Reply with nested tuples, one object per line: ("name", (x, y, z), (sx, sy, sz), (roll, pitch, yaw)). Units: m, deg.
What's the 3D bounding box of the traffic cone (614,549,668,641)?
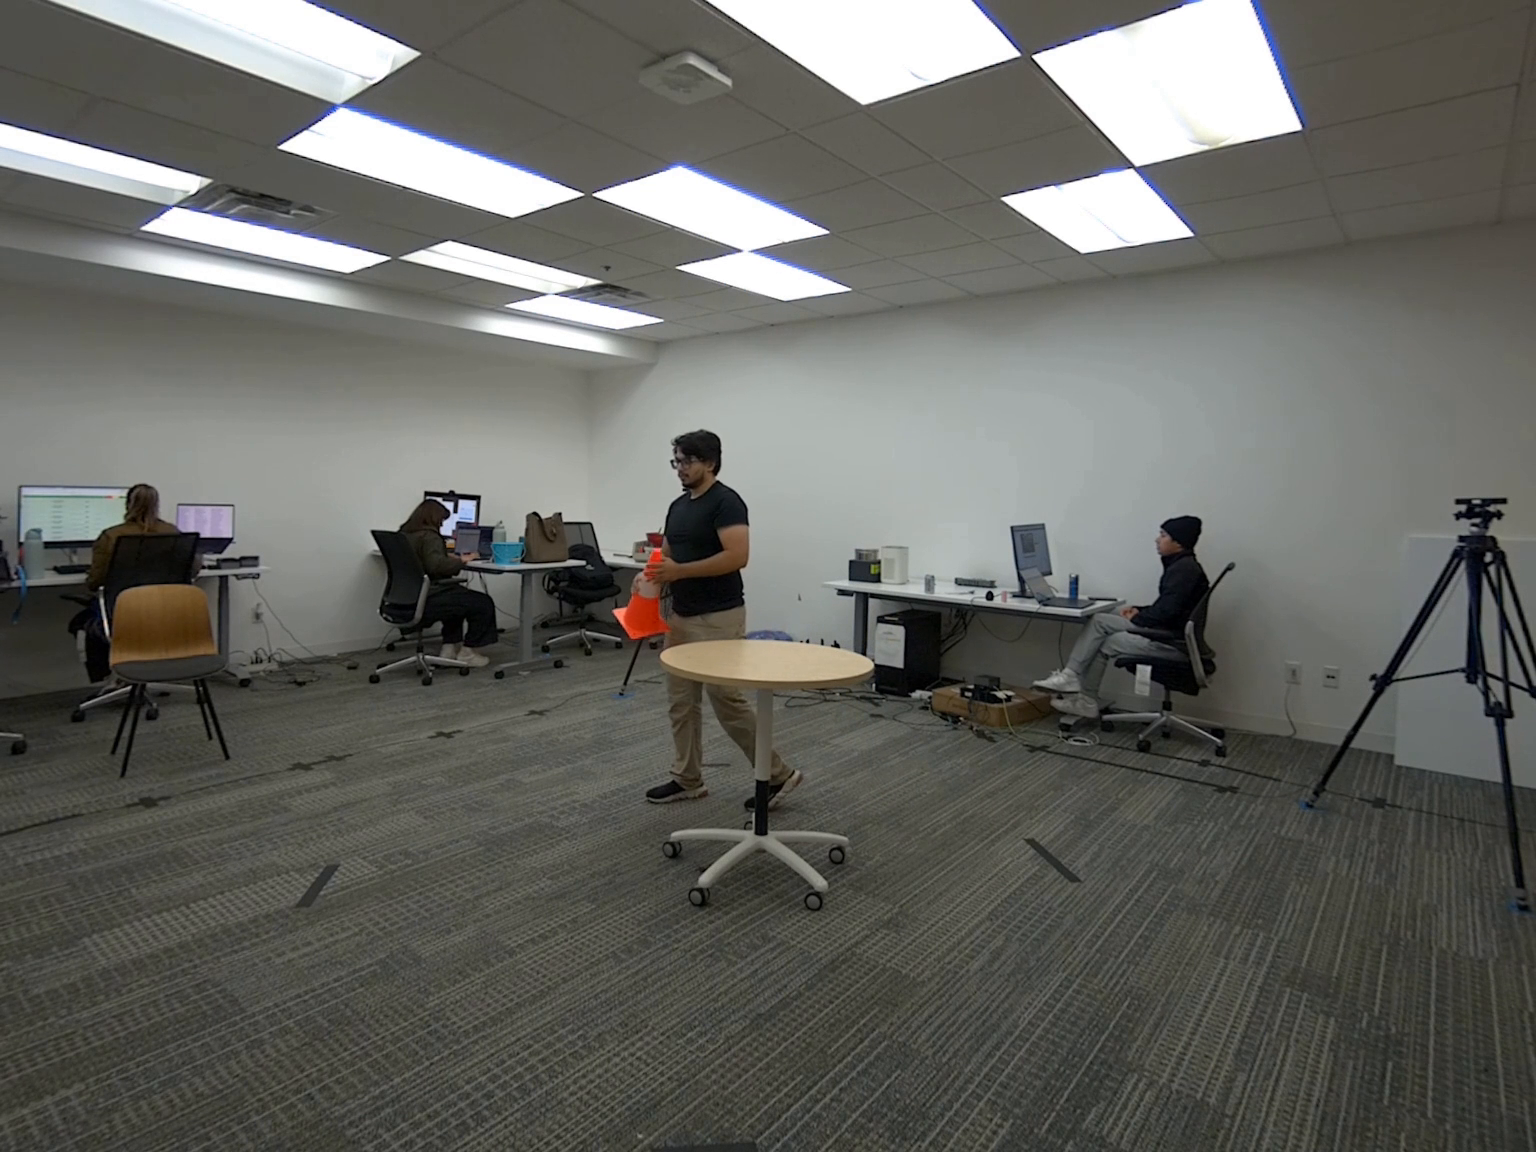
("traffic cone", (-0.518, 0.043, 3.660), (0.200, 0.377, 0.212), (-6, 36, -31))
